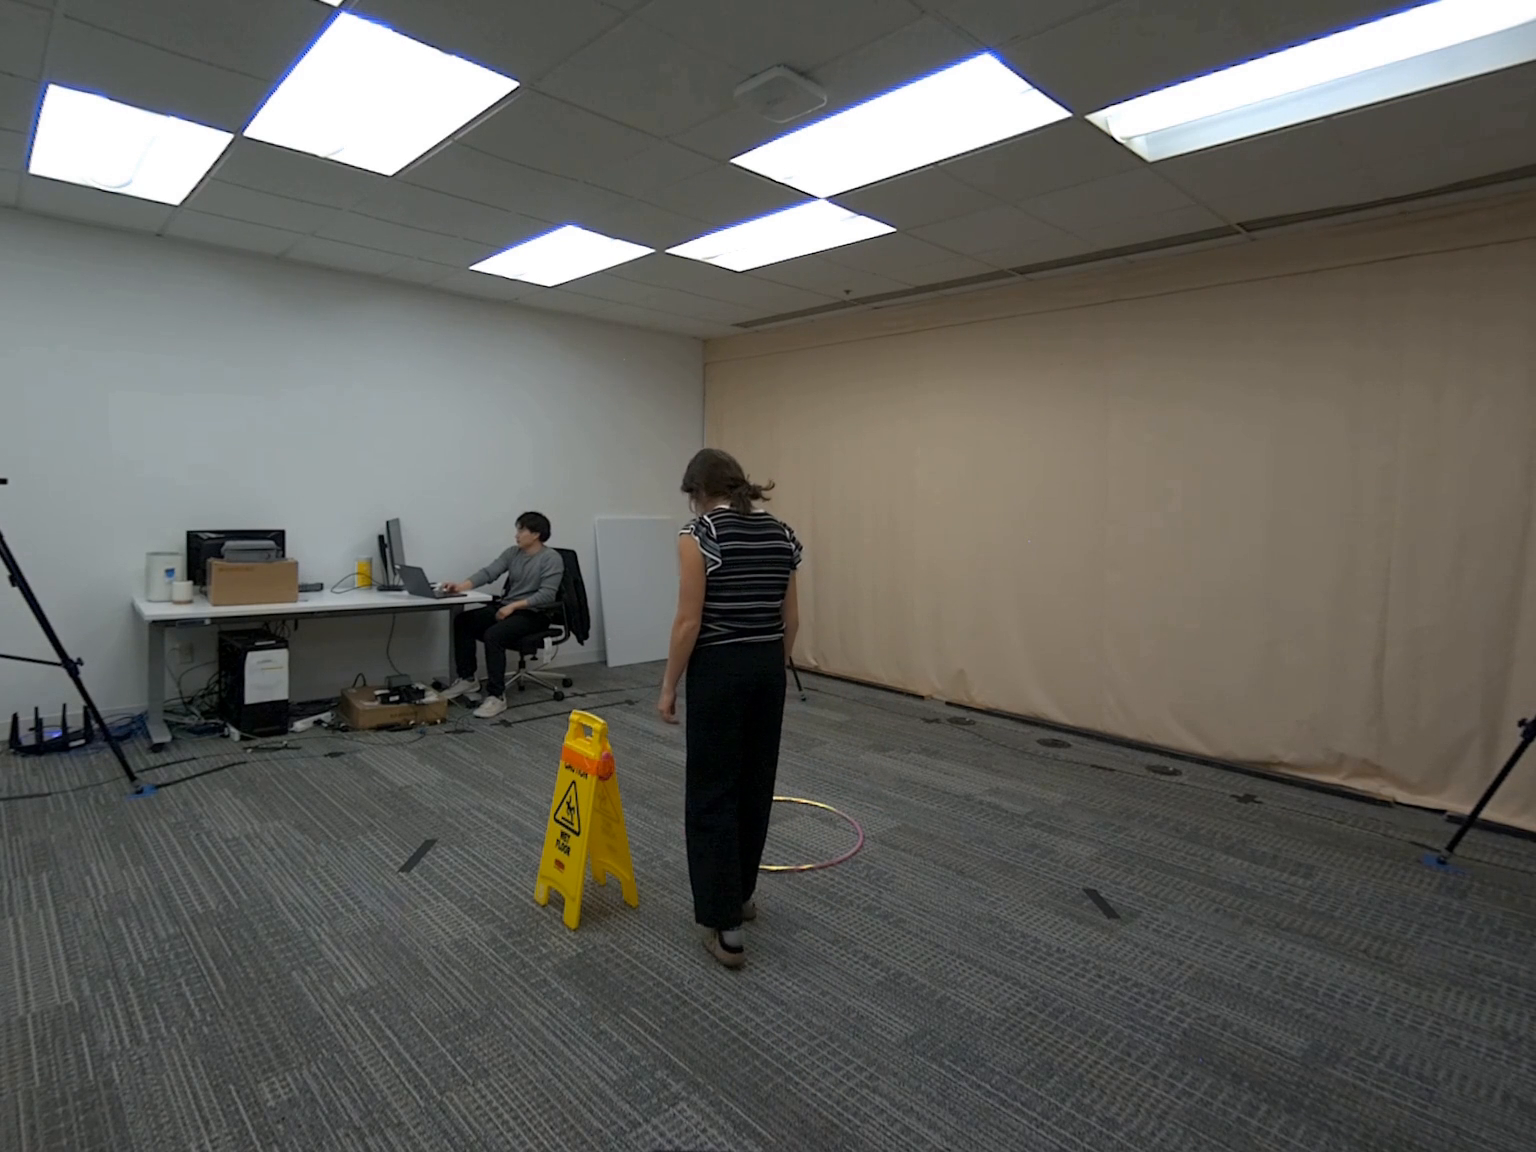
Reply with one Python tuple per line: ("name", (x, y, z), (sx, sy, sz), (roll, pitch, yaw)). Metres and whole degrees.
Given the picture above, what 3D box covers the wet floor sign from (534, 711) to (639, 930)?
("wet floor sign", (-0.619, 0.792, 2.861), (0.283, 0.645, 0.289), (-1, 4, -42))
